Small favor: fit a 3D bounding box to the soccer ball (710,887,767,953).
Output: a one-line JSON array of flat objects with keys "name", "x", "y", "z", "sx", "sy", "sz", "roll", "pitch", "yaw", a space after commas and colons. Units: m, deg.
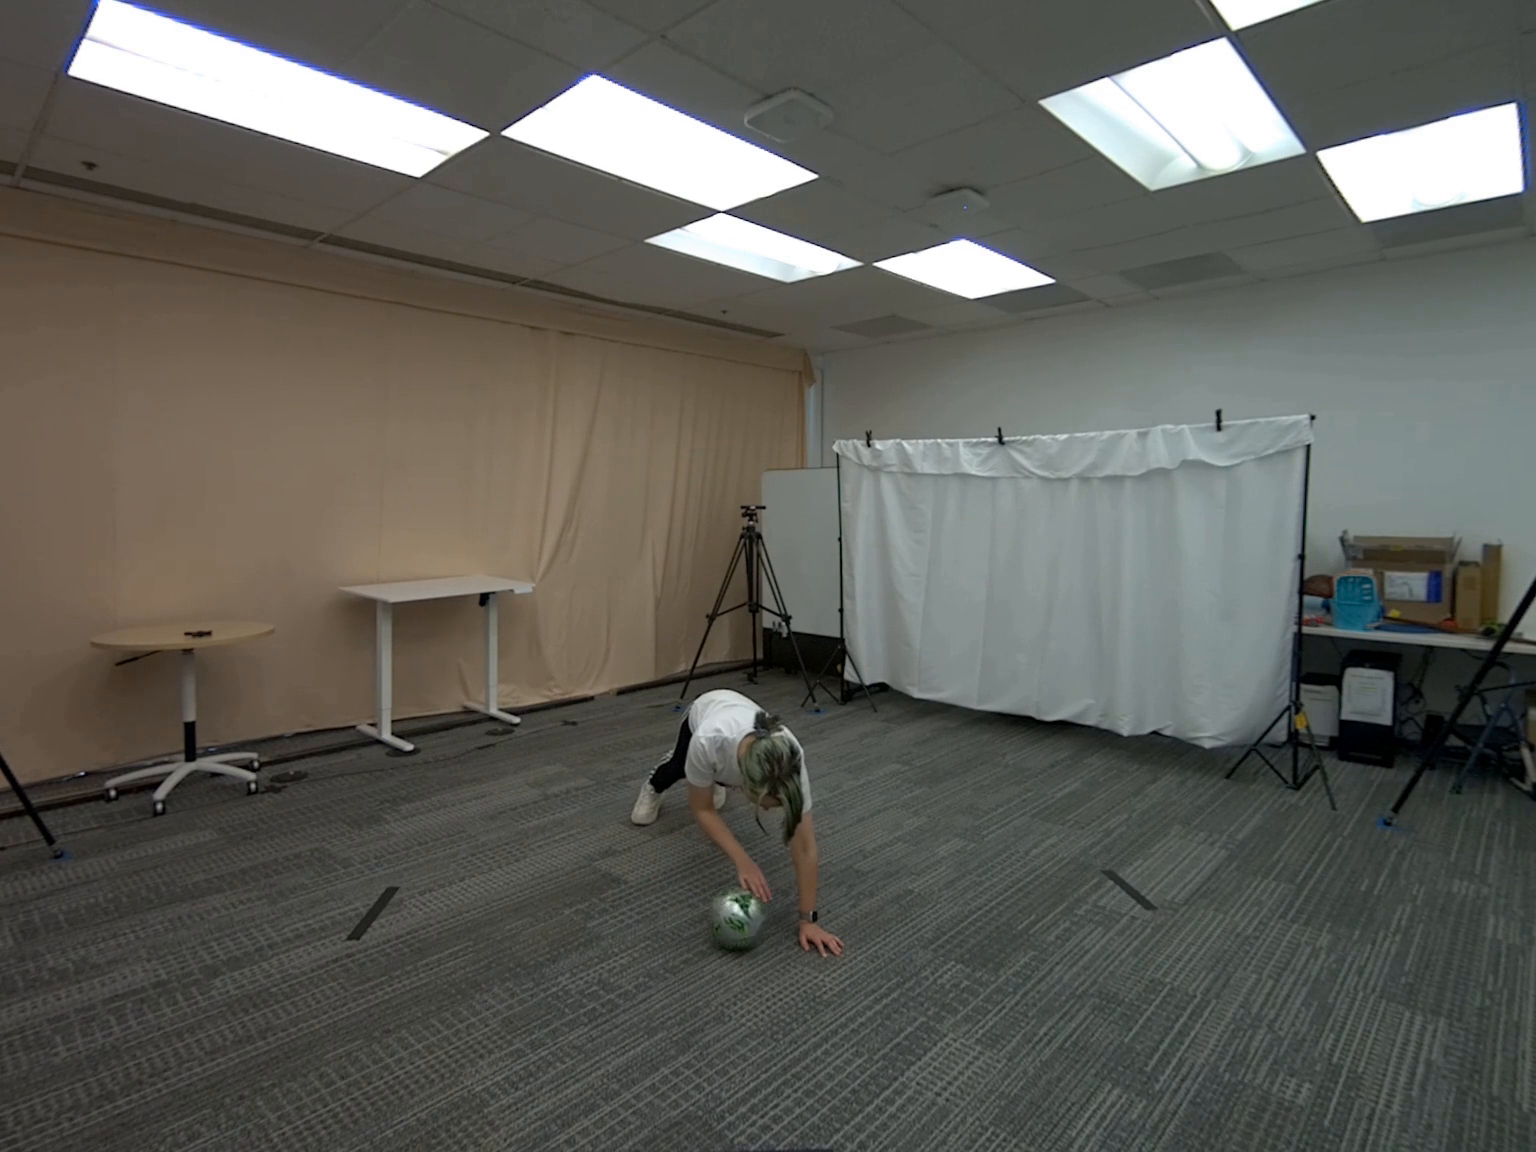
[{"name": "soccer ball", "x": -0.095, "y": 1.072, "z": 2.665, "sx": 0.187, "sy": 0.187, "sz": 0.188, "roll": 0, "pitch": 4, "yaw": -2}]
